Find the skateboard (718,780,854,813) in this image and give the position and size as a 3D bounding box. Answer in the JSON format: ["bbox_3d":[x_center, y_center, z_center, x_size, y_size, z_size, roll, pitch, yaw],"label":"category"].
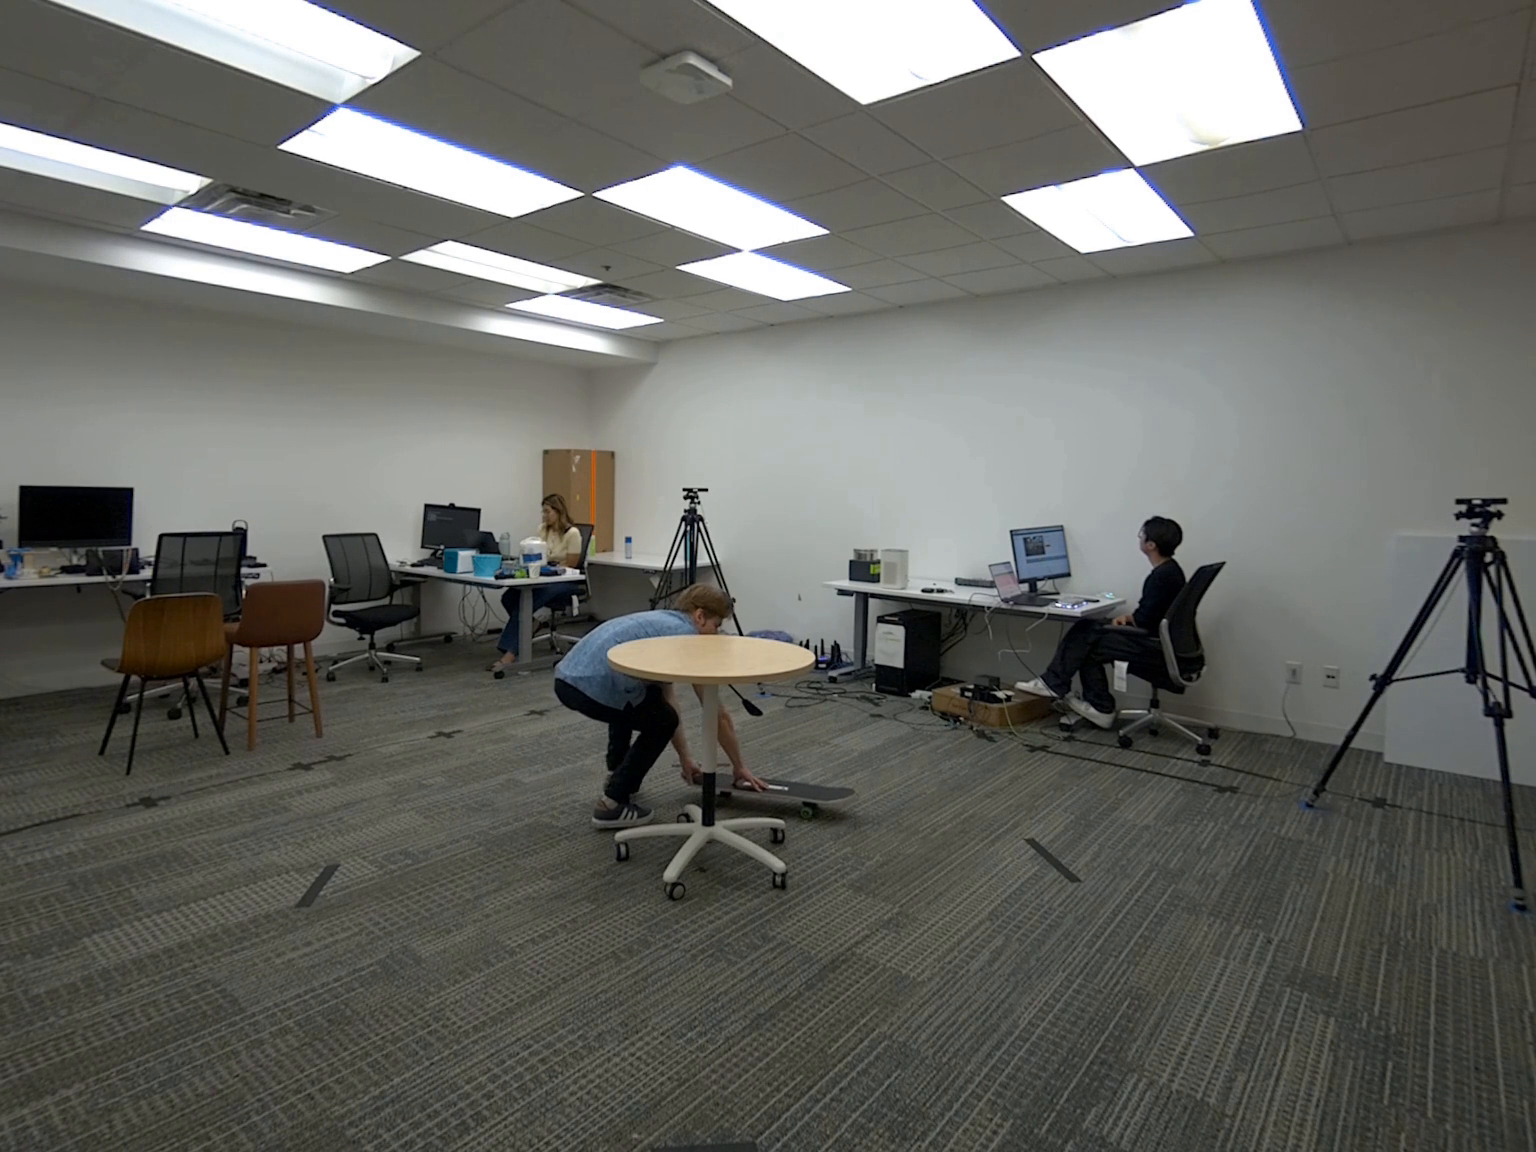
[{"bbox_3d":[-0.024,0.959,3.749,0.800,0.110,0.190,2,4,17],"label":"skateboard"}]
